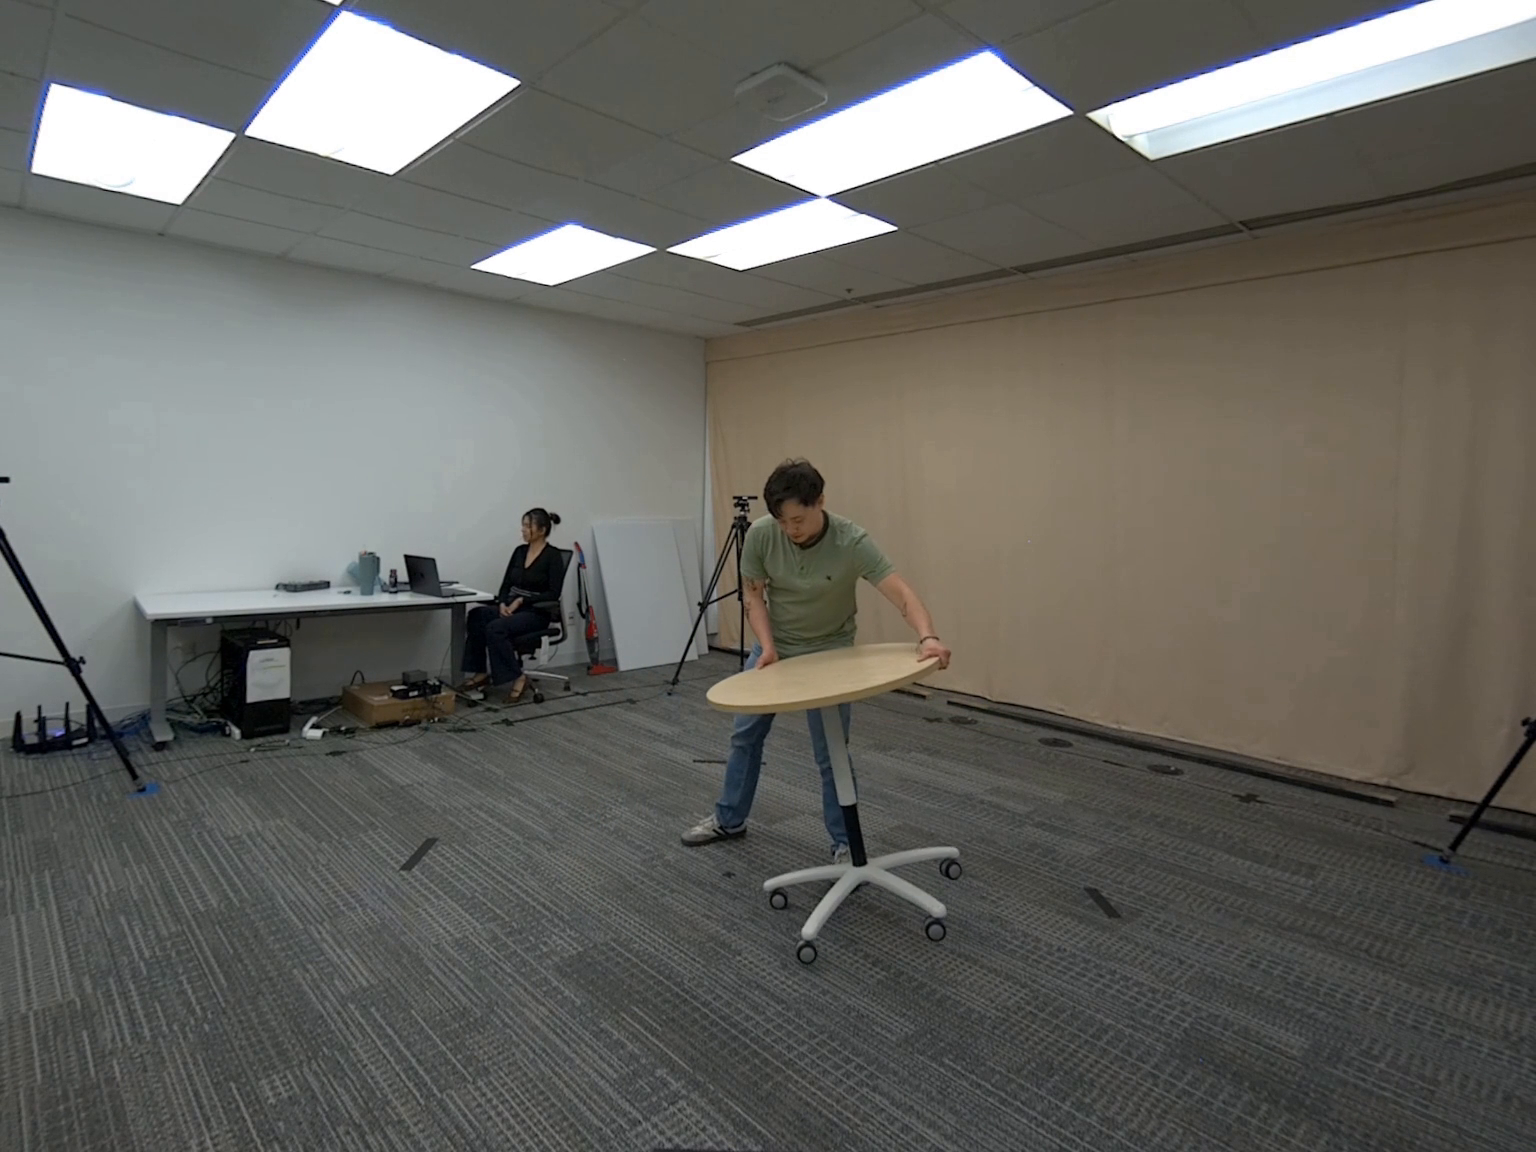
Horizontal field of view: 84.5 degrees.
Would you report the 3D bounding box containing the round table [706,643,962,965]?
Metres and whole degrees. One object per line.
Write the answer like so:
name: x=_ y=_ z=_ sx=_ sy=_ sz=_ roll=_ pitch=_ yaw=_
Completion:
round table: x=0.244 y=0.699 z=2.732 sx=0.764 sy=0.792 sz=0.766 roll=-11 pitch=3 yaw=-1
